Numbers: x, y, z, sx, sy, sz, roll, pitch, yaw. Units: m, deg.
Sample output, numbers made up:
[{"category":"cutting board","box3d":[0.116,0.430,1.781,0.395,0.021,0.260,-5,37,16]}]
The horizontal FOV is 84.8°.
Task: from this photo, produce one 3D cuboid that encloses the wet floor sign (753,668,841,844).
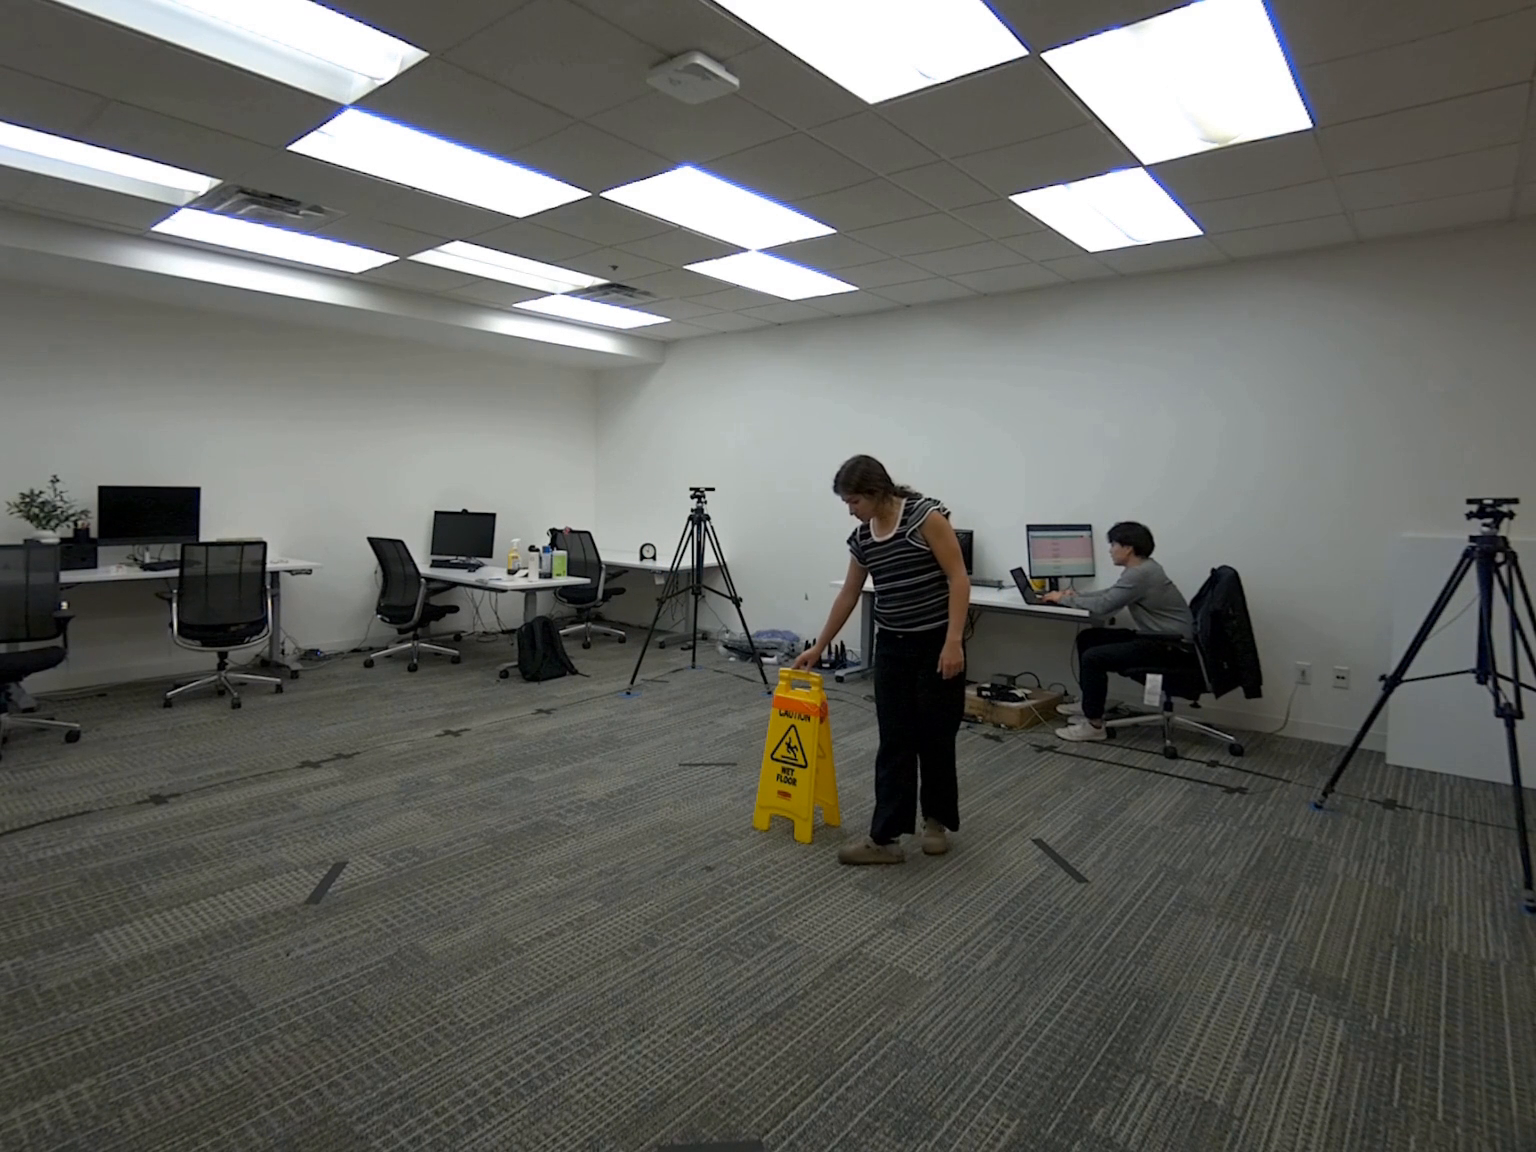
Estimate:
[{"category":"wet floor sign","box3d":[0.117,0.708,3.512,0.291,0.645,0.281,4,3,35]}]
